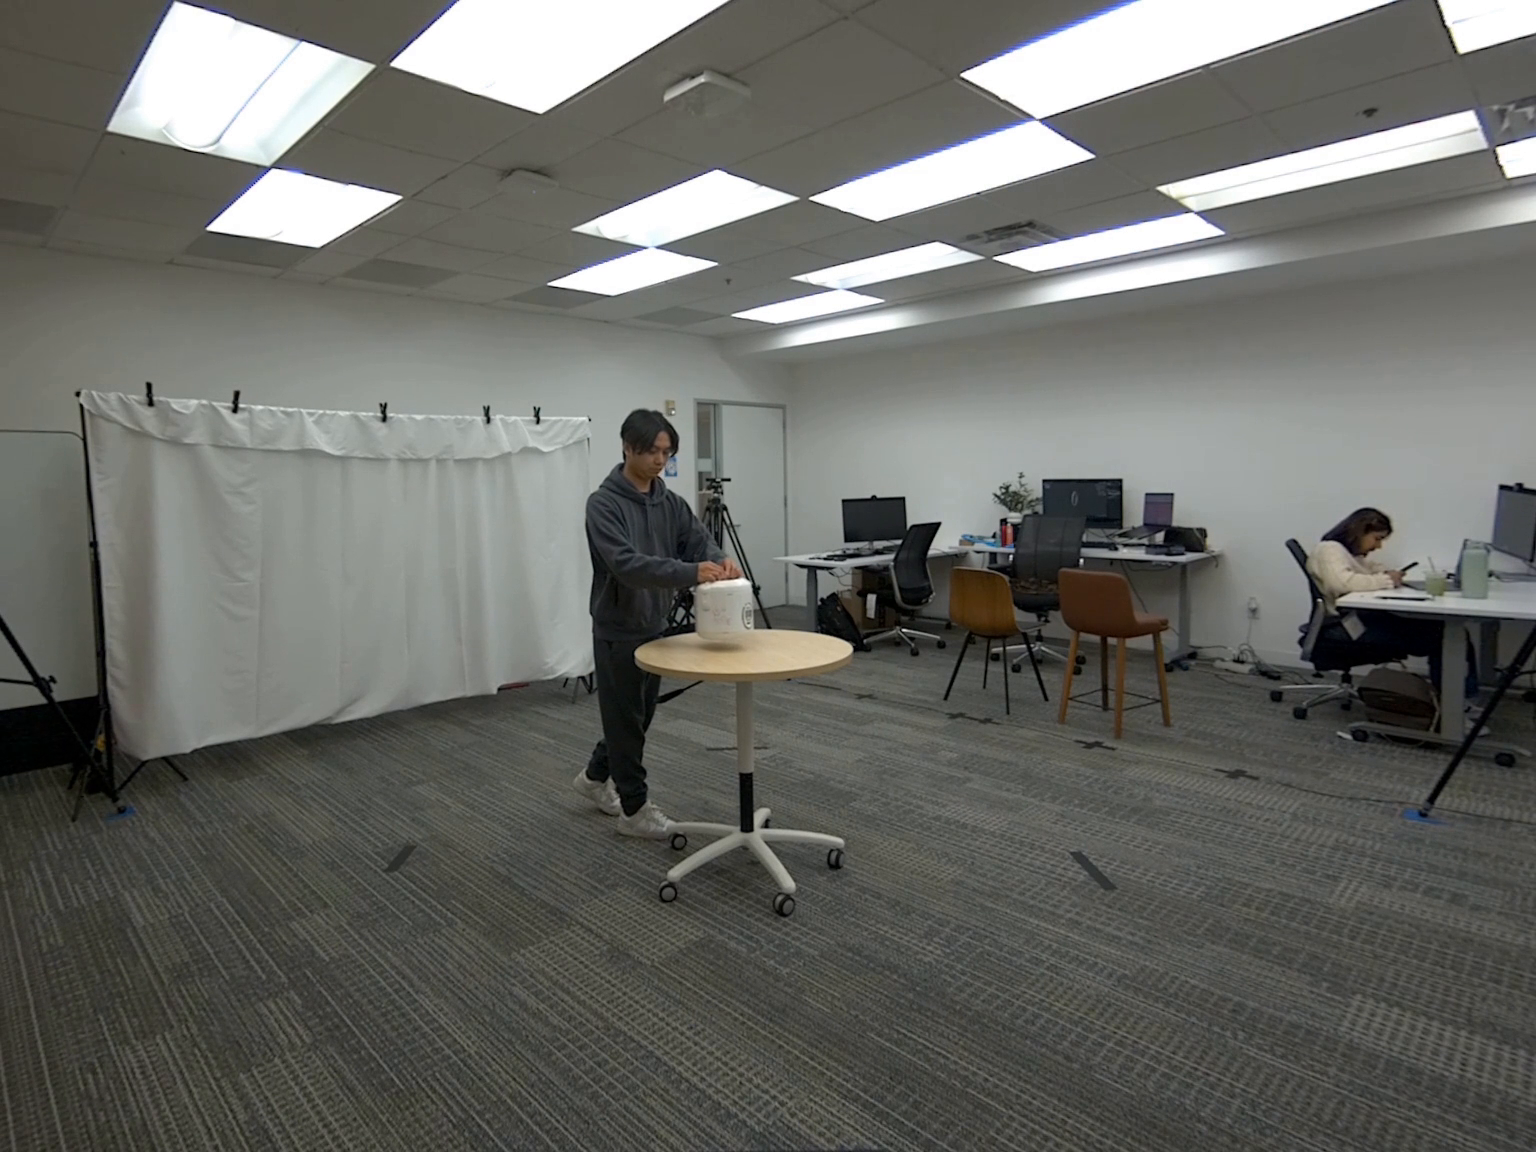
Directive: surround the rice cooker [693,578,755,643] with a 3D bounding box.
[{"bbox_3d":[-0.155,0.099,3.040,0.223,0.232,0.215,-4,2,38],"label":"rice cooker"}]
